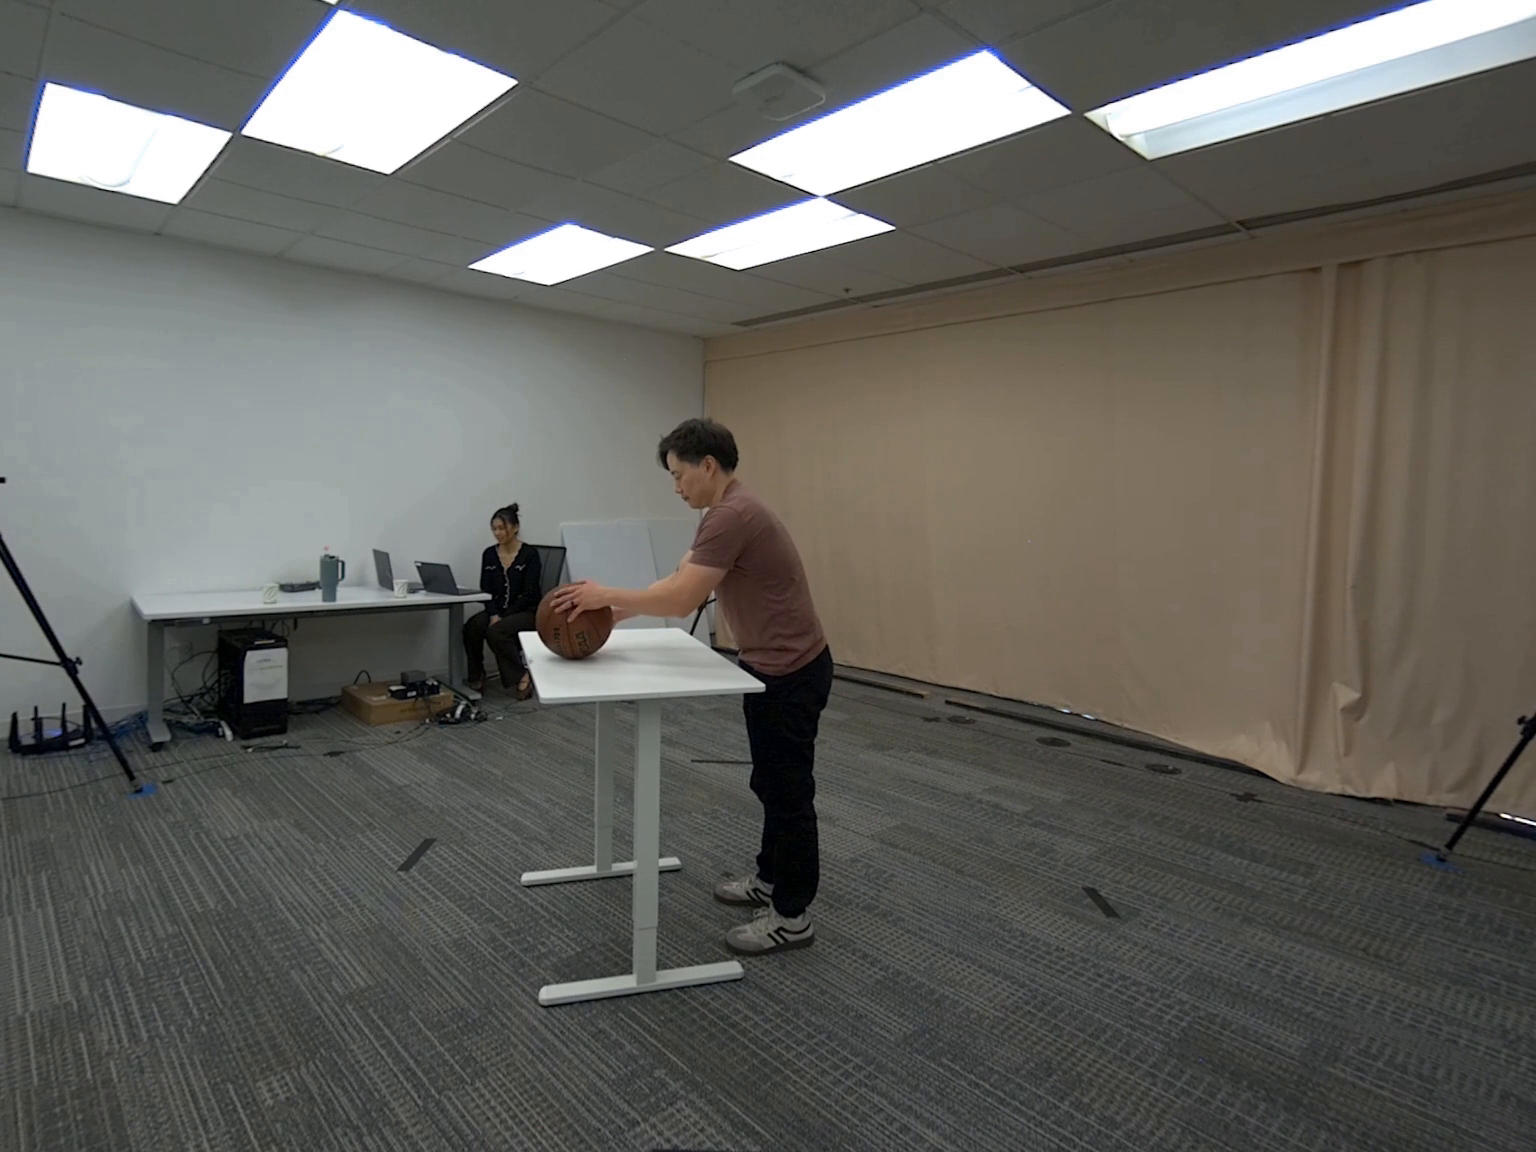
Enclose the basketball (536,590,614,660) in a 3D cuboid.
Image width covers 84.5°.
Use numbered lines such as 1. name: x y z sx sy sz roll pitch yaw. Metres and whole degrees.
1. basketball: -0.608 0.137 2.625 0.236 0.235 0.237 1 4 -1
